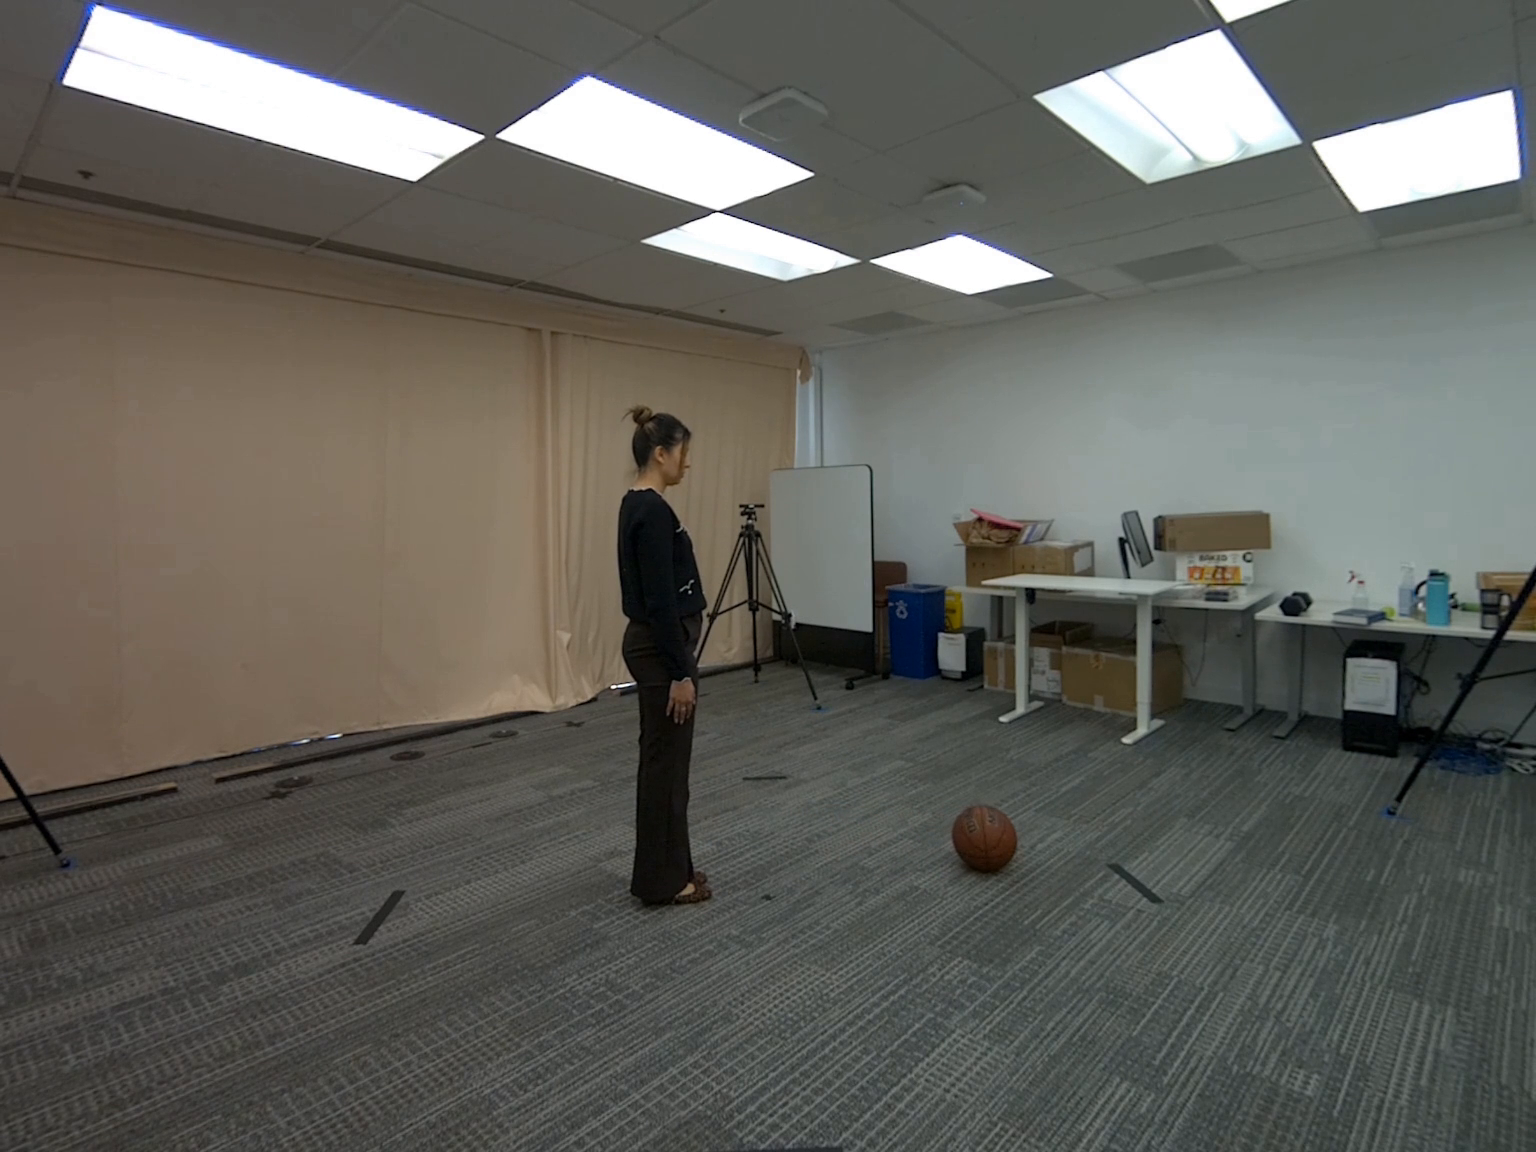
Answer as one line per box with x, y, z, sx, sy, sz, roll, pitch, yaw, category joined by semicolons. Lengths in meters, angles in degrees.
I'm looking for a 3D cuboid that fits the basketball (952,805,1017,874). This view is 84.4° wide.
0.825;0.989;3.180;0.236;0.235;0.237;-1;4;-2;basketball
